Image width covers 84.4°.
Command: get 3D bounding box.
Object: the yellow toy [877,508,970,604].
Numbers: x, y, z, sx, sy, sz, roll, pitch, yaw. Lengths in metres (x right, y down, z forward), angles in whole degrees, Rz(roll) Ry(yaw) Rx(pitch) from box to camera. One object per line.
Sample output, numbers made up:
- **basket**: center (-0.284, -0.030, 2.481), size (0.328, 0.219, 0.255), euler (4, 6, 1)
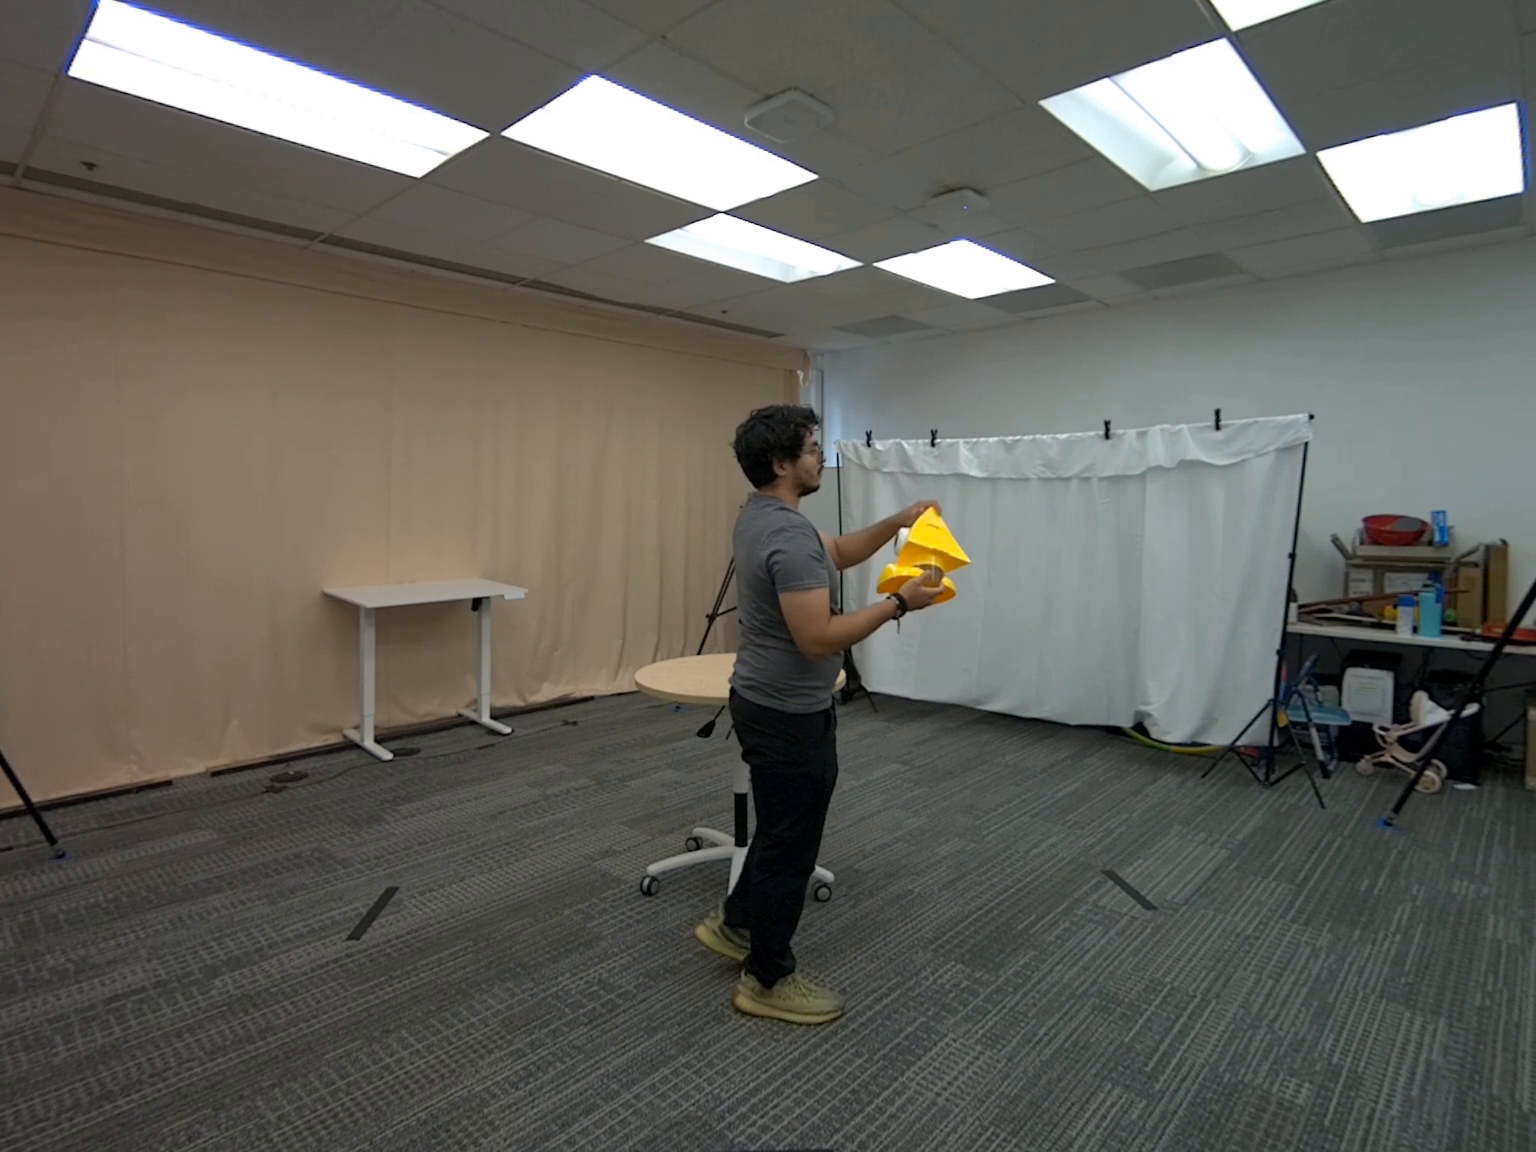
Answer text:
- **yellow toy**: center (0.417, -0.066, 2.278), size (0.200, 0.233, 0.196), euler (17, -27, -23)
